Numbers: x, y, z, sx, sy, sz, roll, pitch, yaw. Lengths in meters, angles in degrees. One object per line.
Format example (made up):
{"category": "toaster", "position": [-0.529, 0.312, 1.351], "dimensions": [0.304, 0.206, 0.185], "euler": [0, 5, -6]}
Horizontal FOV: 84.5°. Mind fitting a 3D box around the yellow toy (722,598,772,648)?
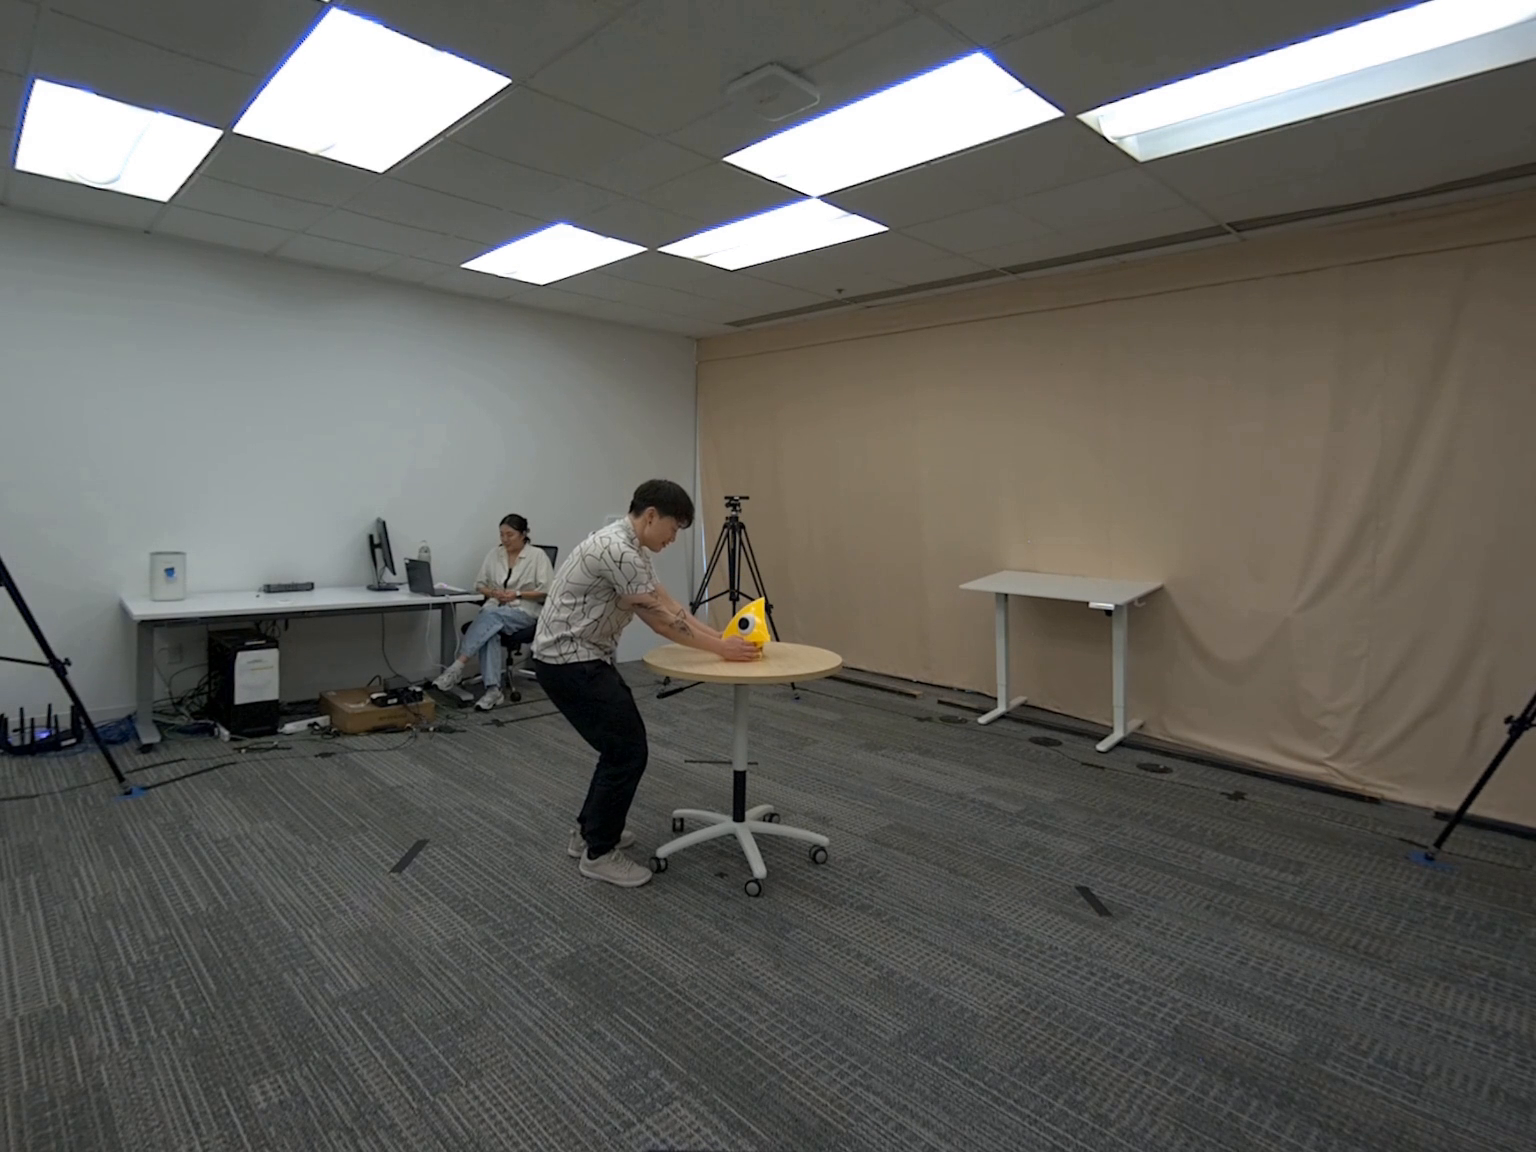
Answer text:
{"category": "yellow toy", "position": [-0.095, 0.191, 3.229], "dimensions": [0.193, 0.230, 0.205], "euler": [6, 5, -2]}
